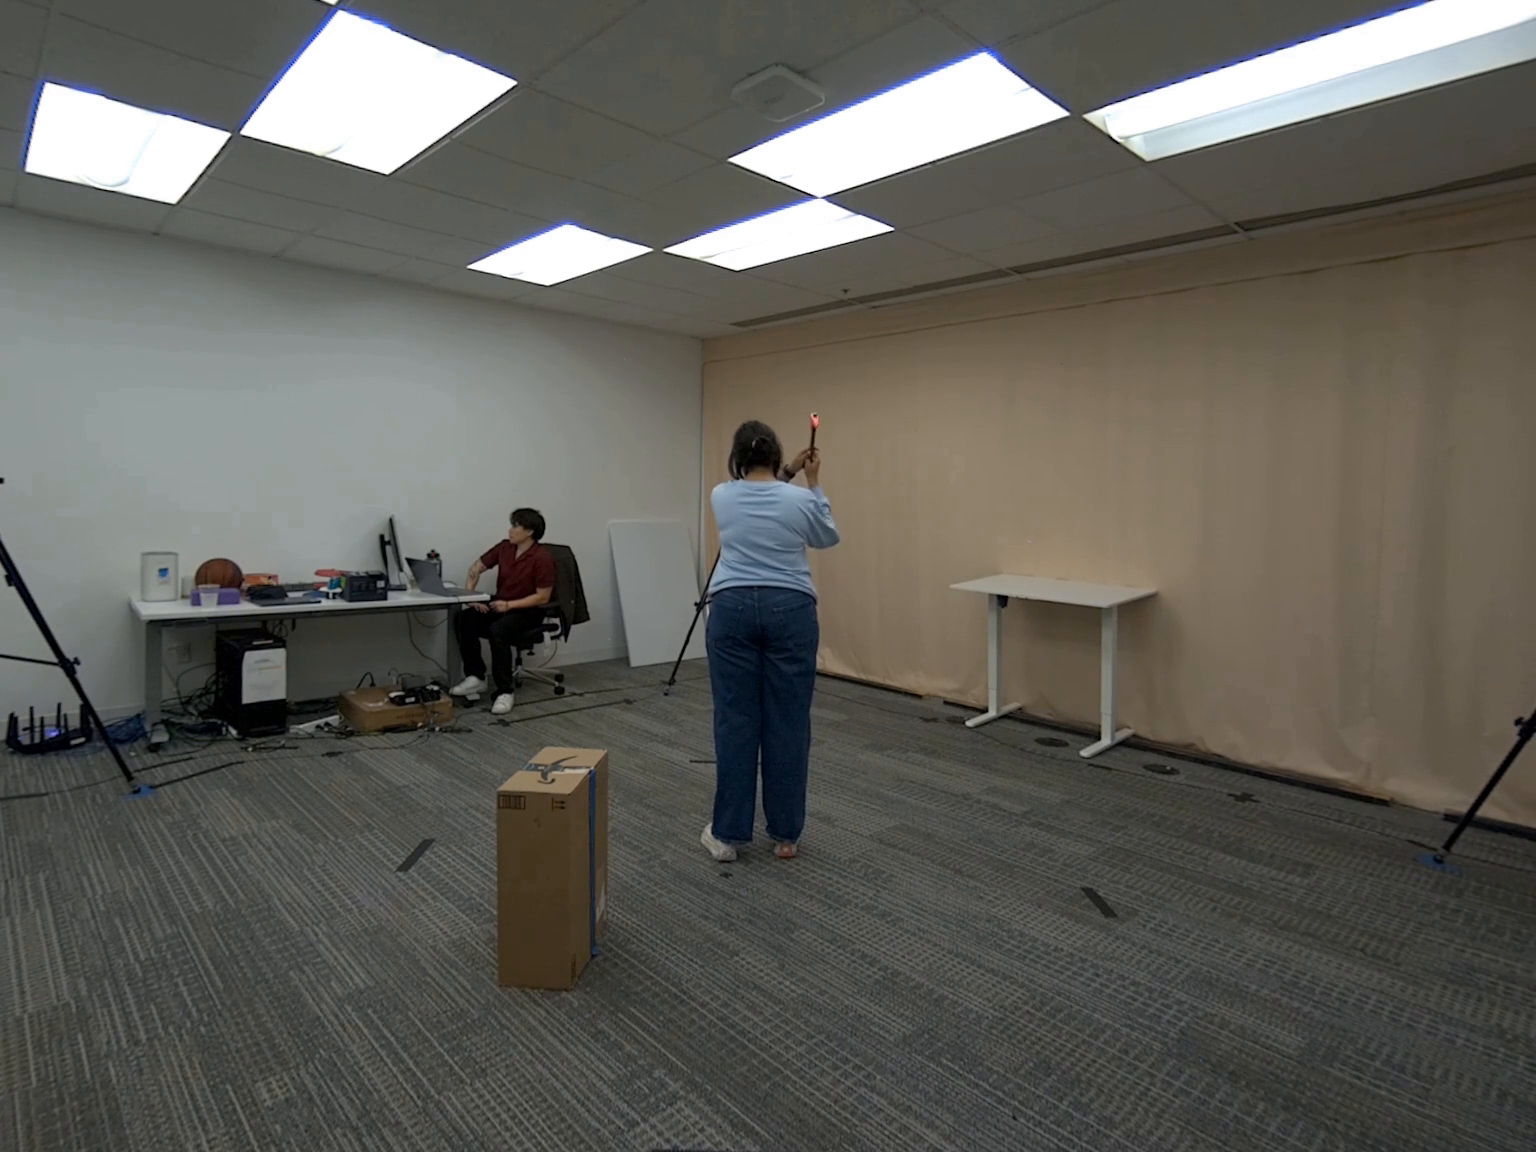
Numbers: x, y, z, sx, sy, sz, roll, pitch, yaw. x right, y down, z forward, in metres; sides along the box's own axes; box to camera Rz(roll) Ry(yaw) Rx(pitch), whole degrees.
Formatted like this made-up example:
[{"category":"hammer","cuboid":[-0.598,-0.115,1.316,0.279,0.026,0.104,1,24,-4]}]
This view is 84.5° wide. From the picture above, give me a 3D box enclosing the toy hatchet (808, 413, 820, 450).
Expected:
[{"category":"toy hatchet","cuboid":[0.161,-0.557,3.470,0.029,0.134,0.265,3,-39,-7]}]
